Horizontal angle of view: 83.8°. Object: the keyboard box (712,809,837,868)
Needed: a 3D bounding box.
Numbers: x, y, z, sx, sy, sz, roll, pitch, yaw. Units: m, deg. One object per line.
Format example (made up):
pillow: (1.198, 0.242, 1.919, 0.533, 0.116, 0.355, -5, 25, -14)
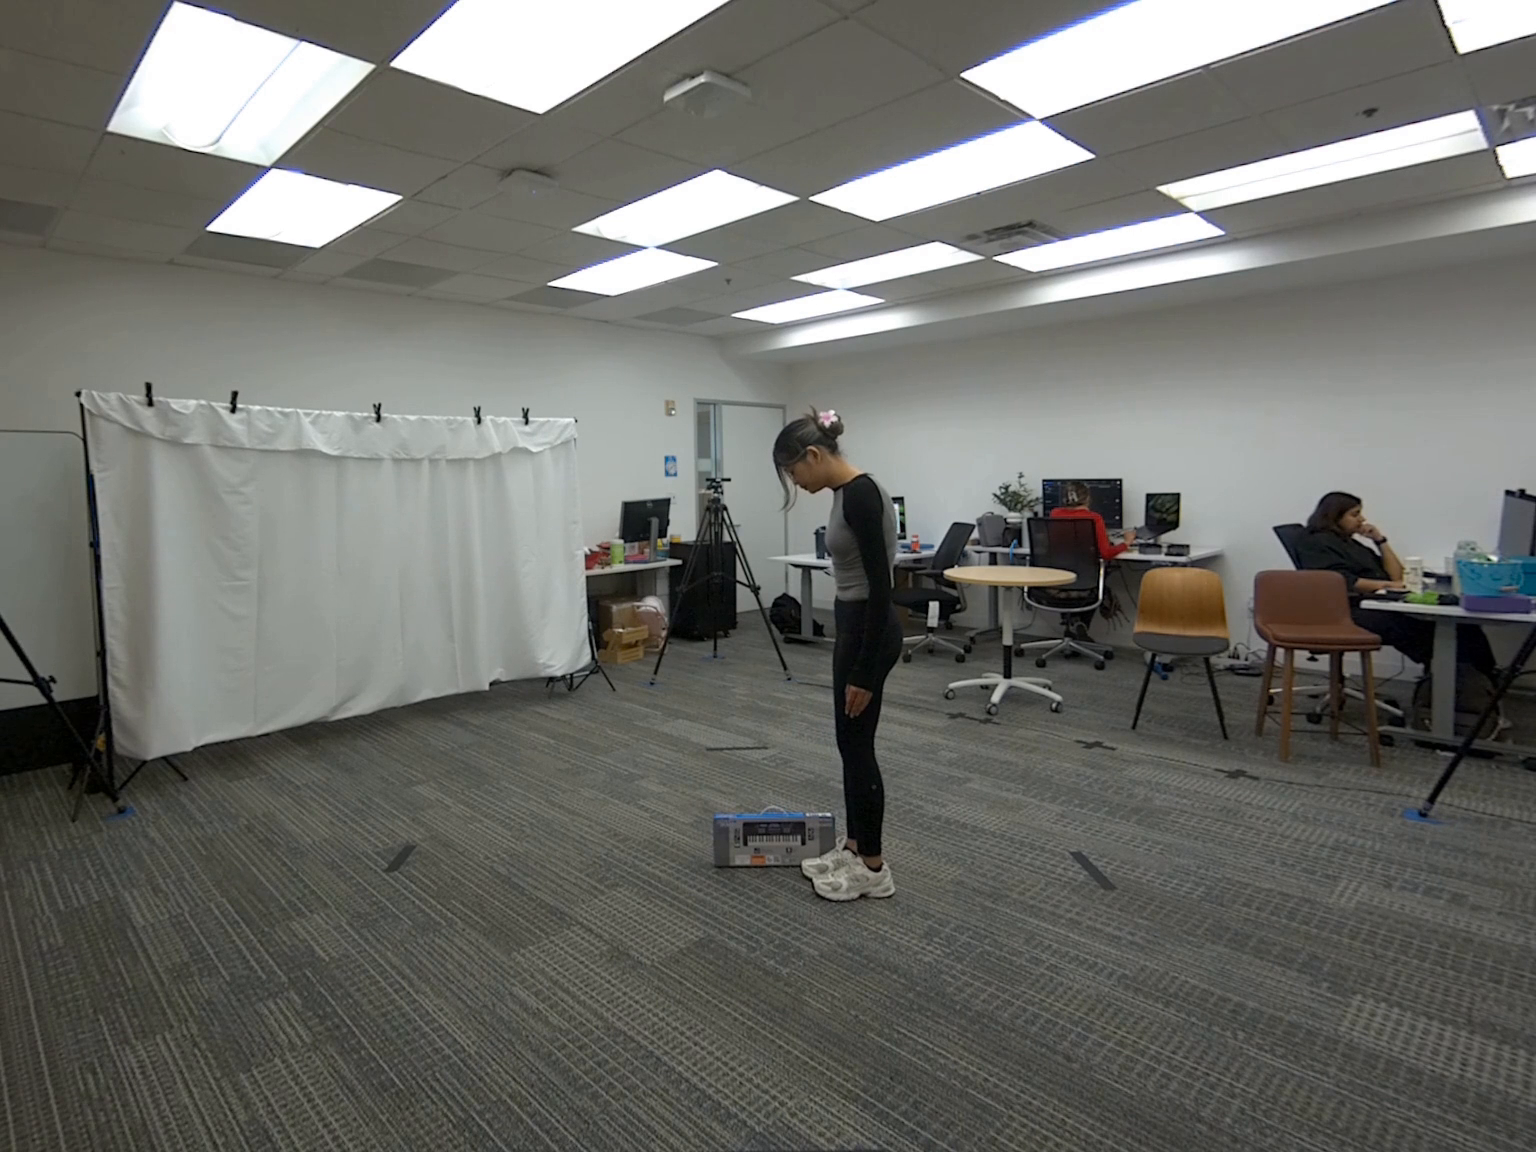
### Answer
keyboard box: (0.024, 0.951, 3.092, 0.437, 0.176, 0.059, -1, -2, 1)
